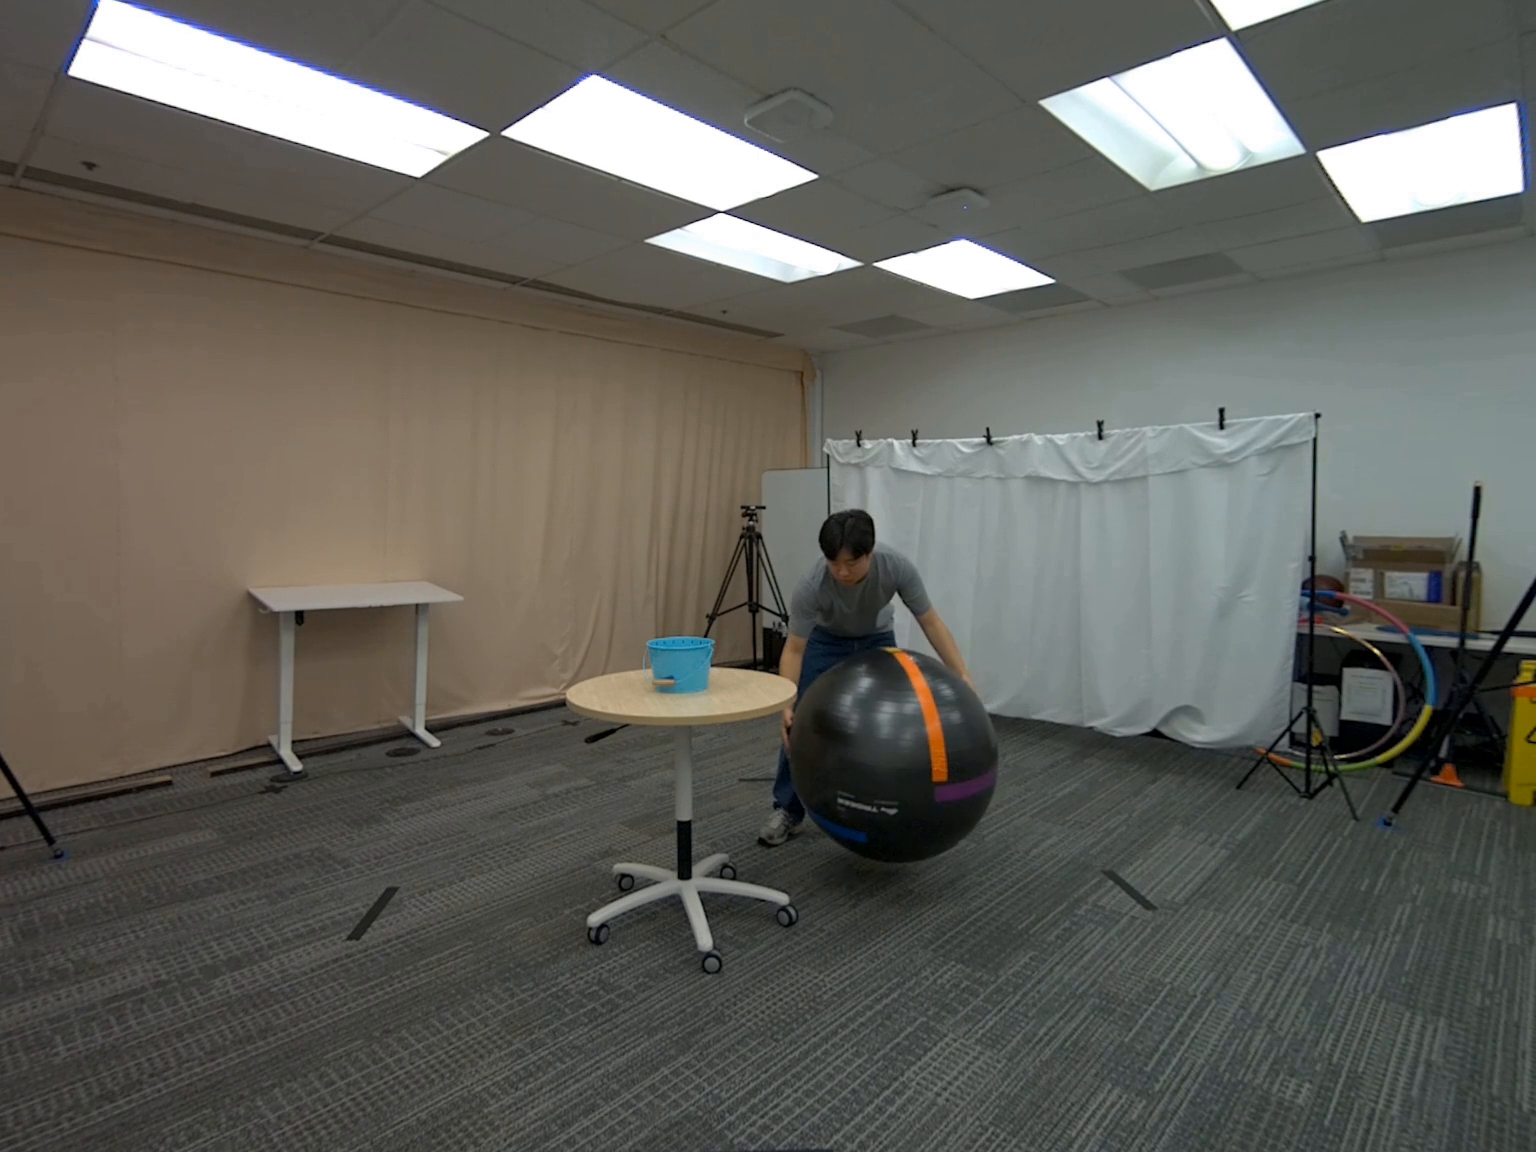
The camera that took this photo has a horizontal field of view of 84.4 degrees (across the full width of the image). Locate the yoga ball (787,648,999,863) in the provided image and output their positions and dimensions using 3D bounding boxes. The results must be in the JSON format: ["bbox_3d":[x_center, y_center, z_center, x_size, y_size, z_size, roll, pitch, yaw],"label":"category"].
[{"bbox_3d":[0.476,0.642,3.098,0.757,0.756,0.760,0,4,-2],"label":"yoga ball"}]
